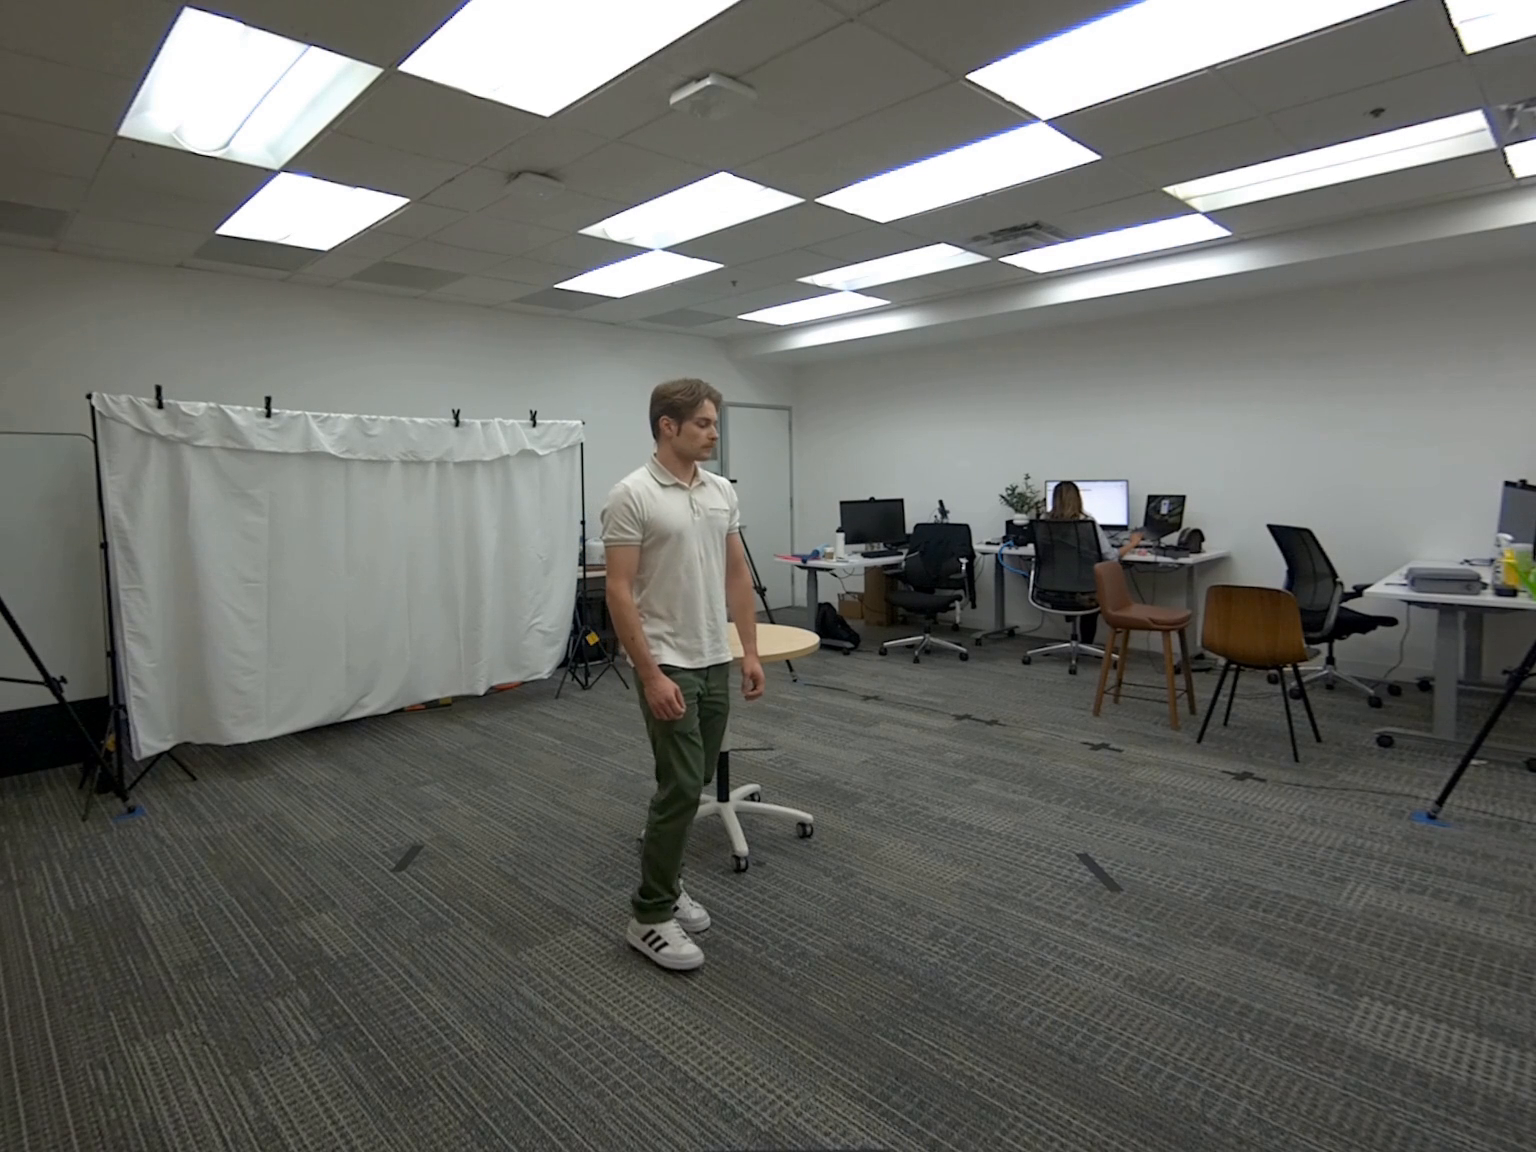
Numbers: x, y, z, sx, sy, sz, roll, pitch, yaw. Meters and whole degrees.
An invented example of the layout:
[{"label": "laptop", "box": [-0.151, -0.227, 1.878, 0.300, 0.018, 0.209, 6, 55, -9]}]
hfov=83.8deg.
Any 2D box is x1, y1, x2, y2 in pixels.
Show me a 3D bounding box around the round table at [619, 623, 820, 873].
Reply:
[{"label": "round table", "box": [-0.174, 0.635, 3.344, 0.763, 0.791, 0.767, -1, 4, -2]}]
